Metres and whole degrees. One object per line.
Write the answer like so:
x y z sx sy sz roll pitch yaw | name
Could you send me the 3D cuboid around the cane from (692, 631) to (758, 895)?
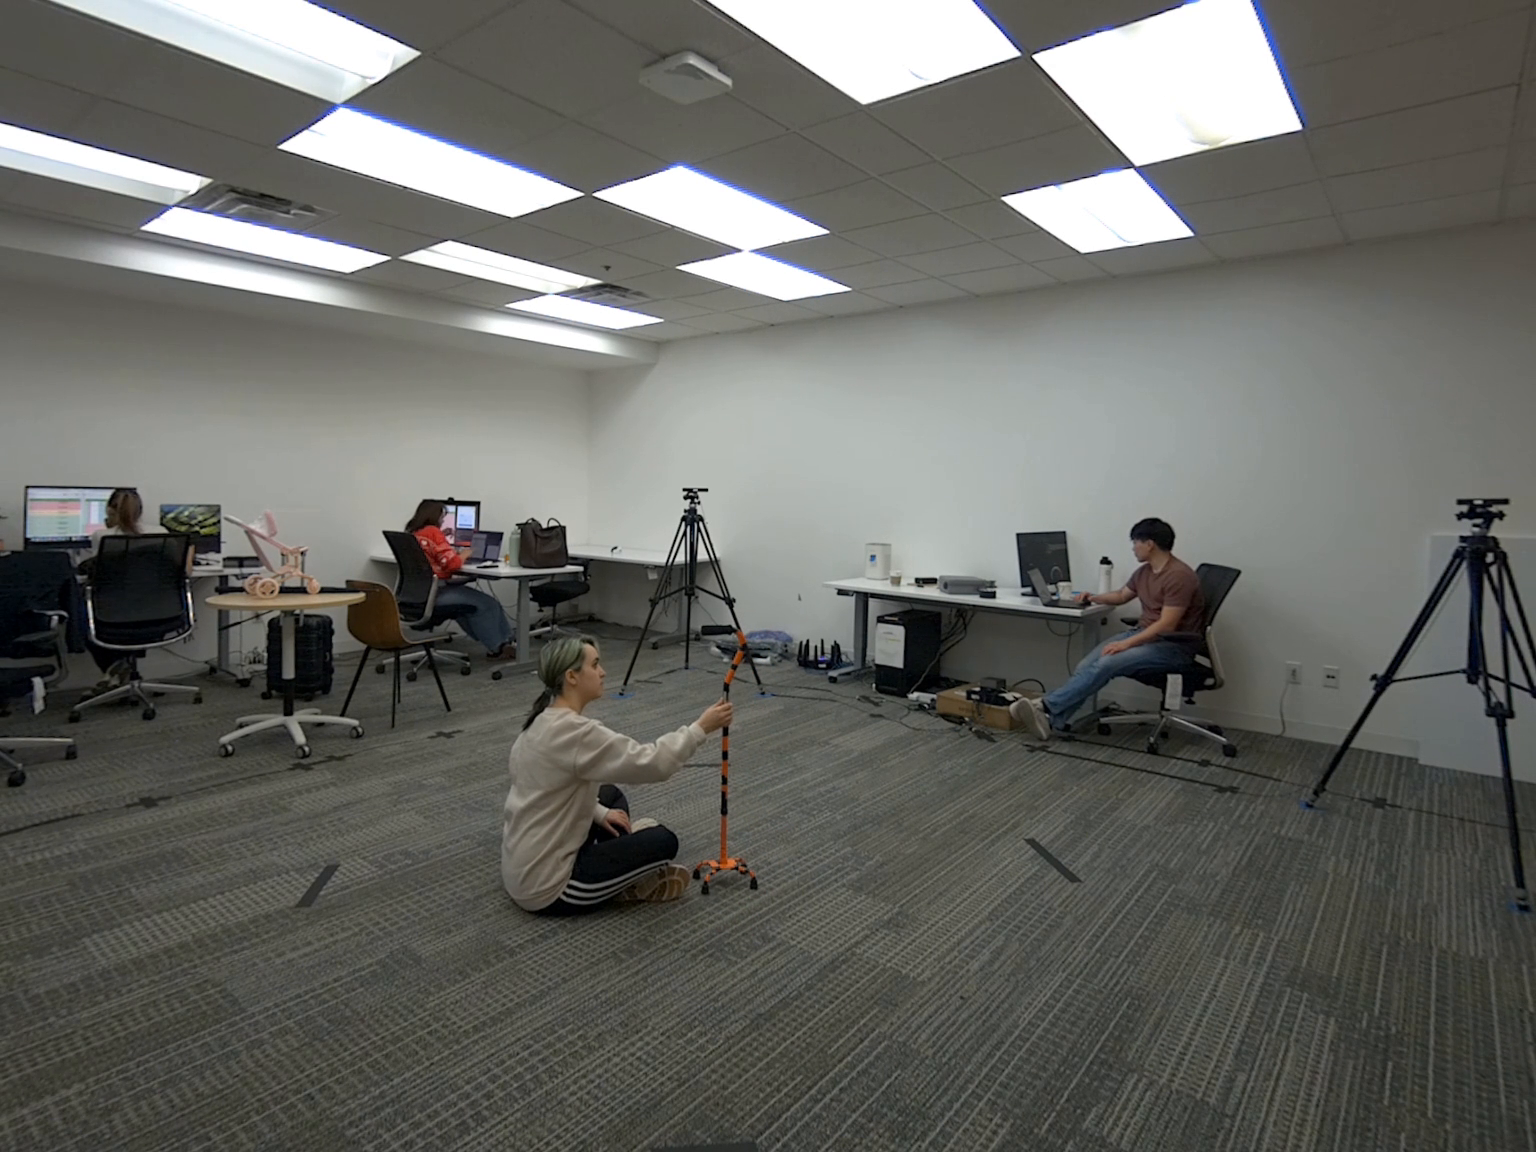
-0.155 0.637 2.983 0.203 0.904 0.155 0 5 -15 | cane
